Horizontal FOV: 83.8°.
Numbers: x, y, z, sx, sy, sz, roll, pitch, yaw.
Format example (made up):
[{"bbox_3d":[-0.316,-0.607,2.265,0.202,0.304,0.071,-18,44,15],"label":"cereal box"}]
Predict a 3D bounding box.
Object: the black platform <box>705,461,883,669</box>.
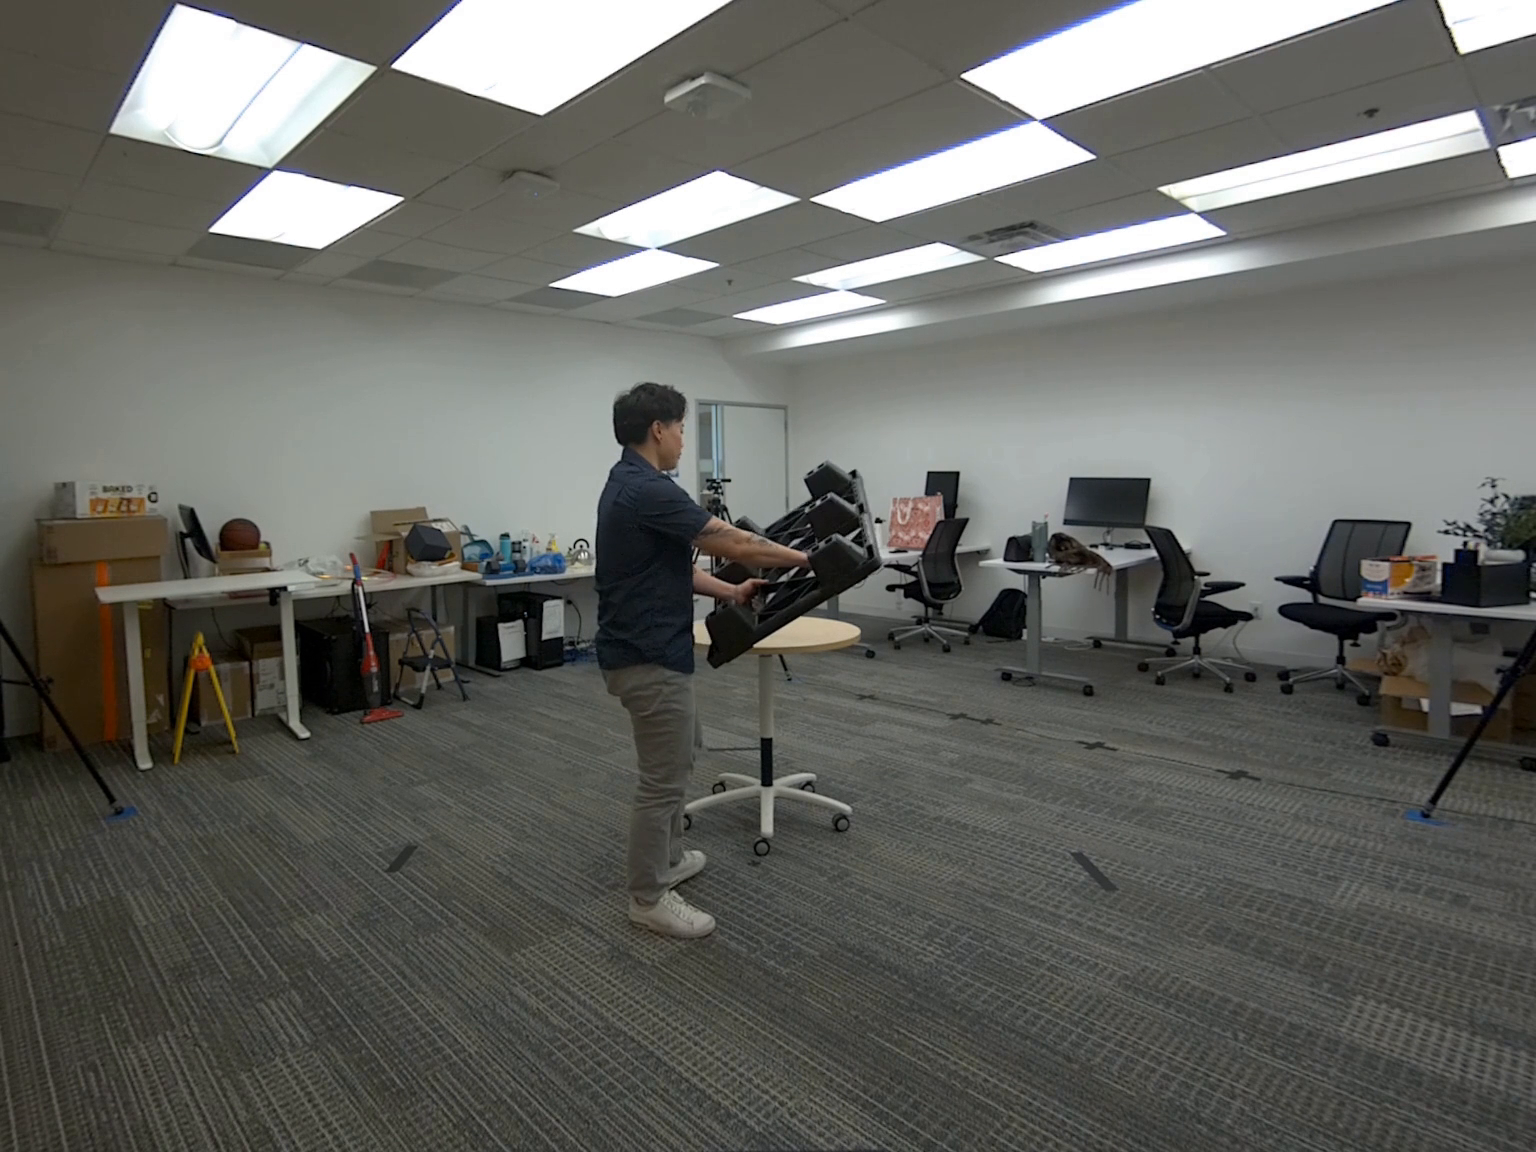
[{"bbox_3d":[0.054,-0.086,2.813,0.608,0.140,0.819,-34,20,17],"label":"black platform"}]
